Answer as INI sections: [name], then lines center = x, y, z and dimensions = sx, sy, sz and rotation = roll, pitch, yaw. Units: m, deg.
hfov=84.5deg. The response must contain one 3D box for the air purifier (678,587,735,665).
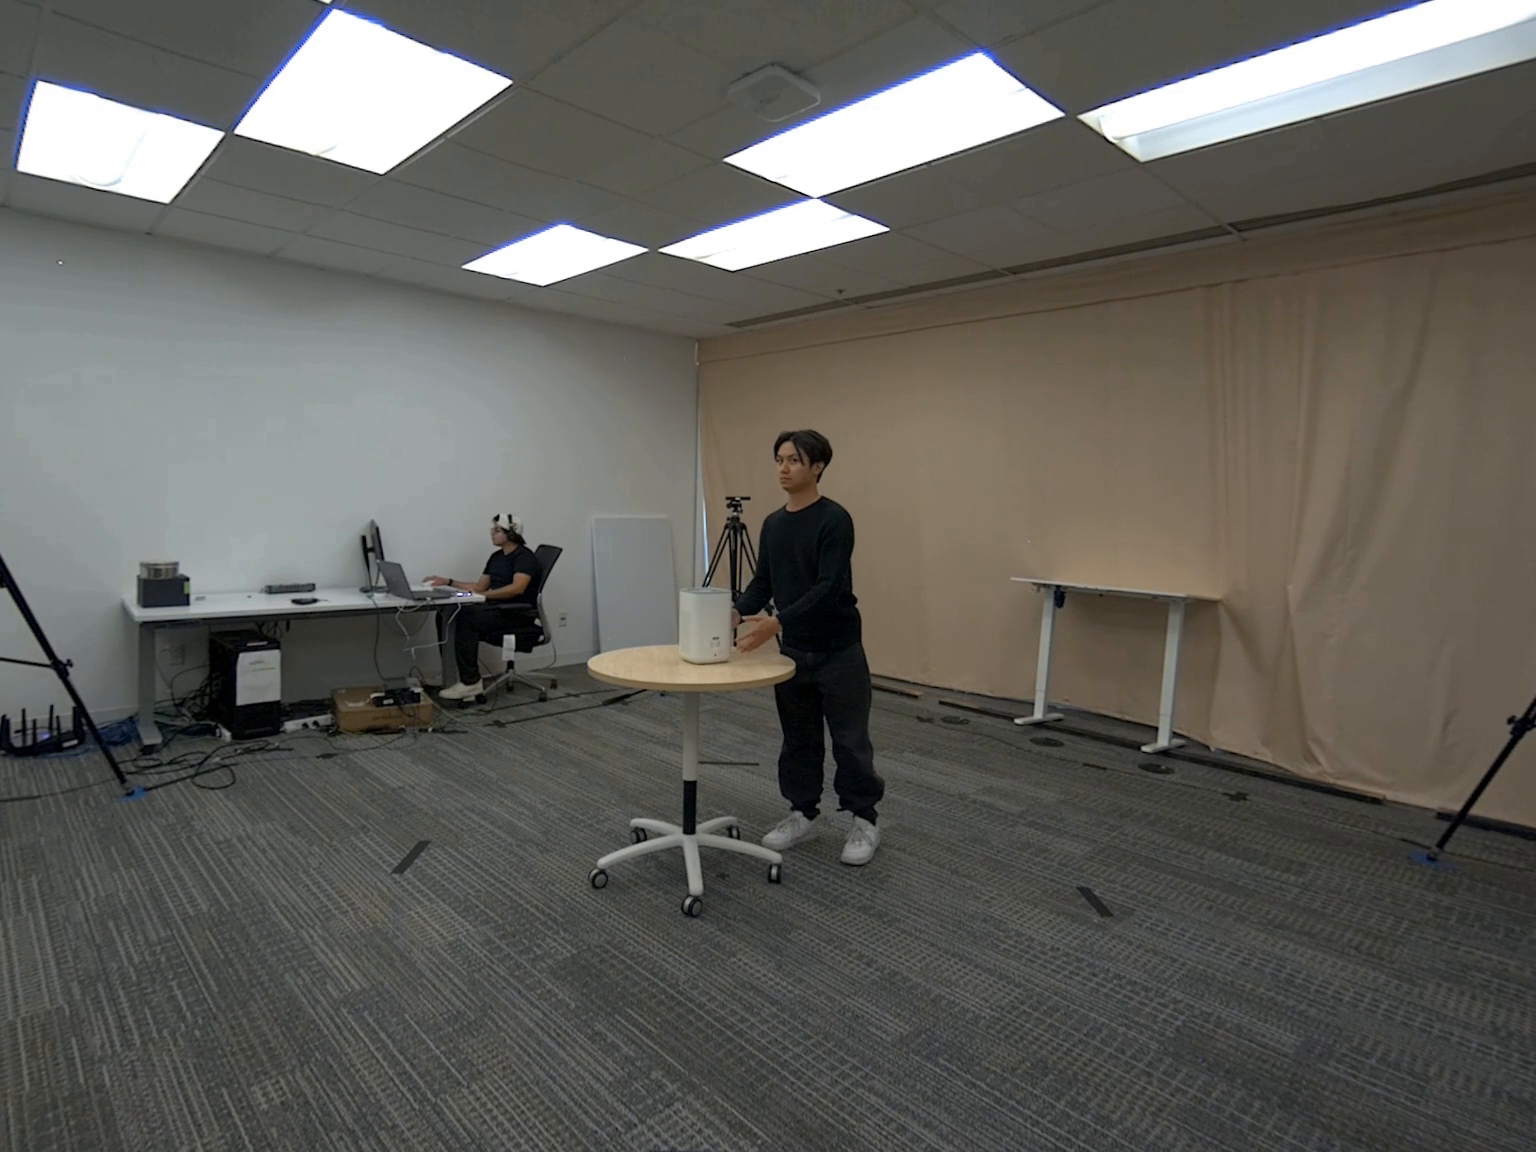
[air purifier]
center = -0.248, 0.184, 3.137
dimensions = 0.167, 0.265, 0.175
rotation = -1, 2, -31
